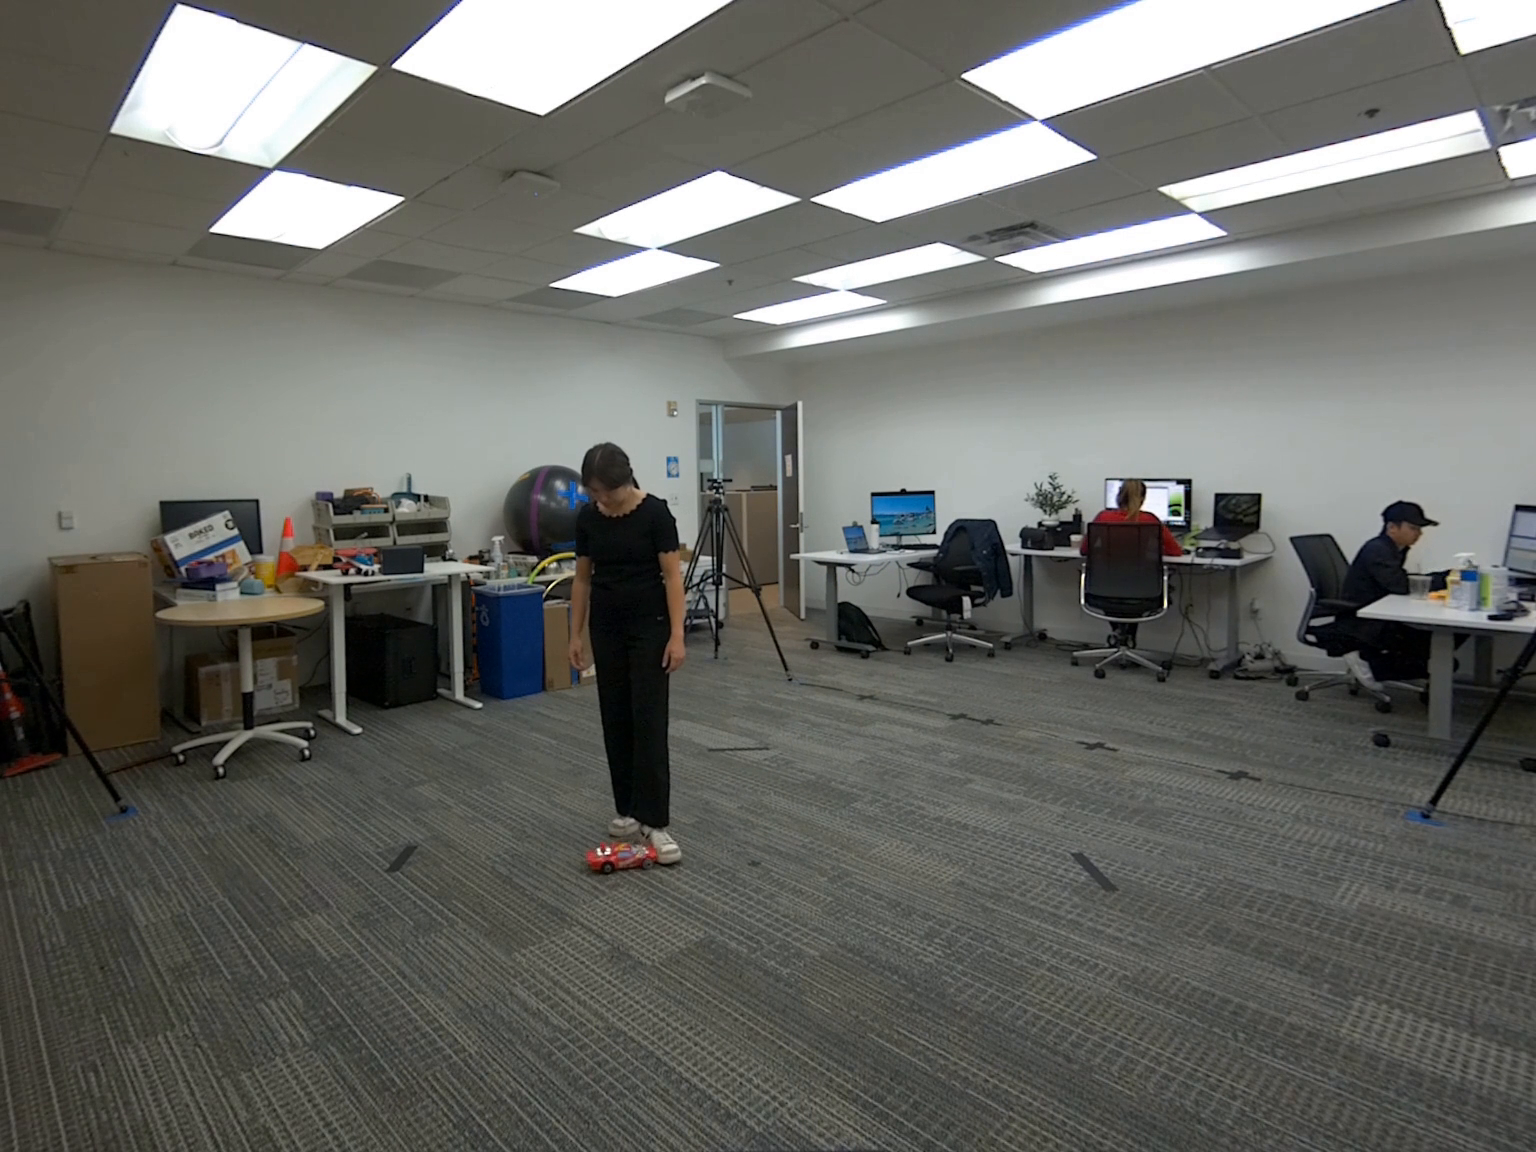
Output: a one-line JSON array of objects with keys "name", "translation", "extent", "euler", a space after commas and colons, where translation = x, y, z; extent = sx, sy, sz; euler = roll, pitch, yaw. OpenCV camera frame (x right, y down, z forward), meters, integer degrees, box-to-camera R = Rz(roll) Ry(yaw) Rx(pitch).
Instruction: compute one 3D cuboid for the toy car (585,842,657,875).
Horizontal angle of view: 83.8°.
[{"name": "toy car", "translation": [-0.549, 1.026, 3.103], "extent": [0.251, 0.083, 0.132], "euler": [9, 3, -15]}]
